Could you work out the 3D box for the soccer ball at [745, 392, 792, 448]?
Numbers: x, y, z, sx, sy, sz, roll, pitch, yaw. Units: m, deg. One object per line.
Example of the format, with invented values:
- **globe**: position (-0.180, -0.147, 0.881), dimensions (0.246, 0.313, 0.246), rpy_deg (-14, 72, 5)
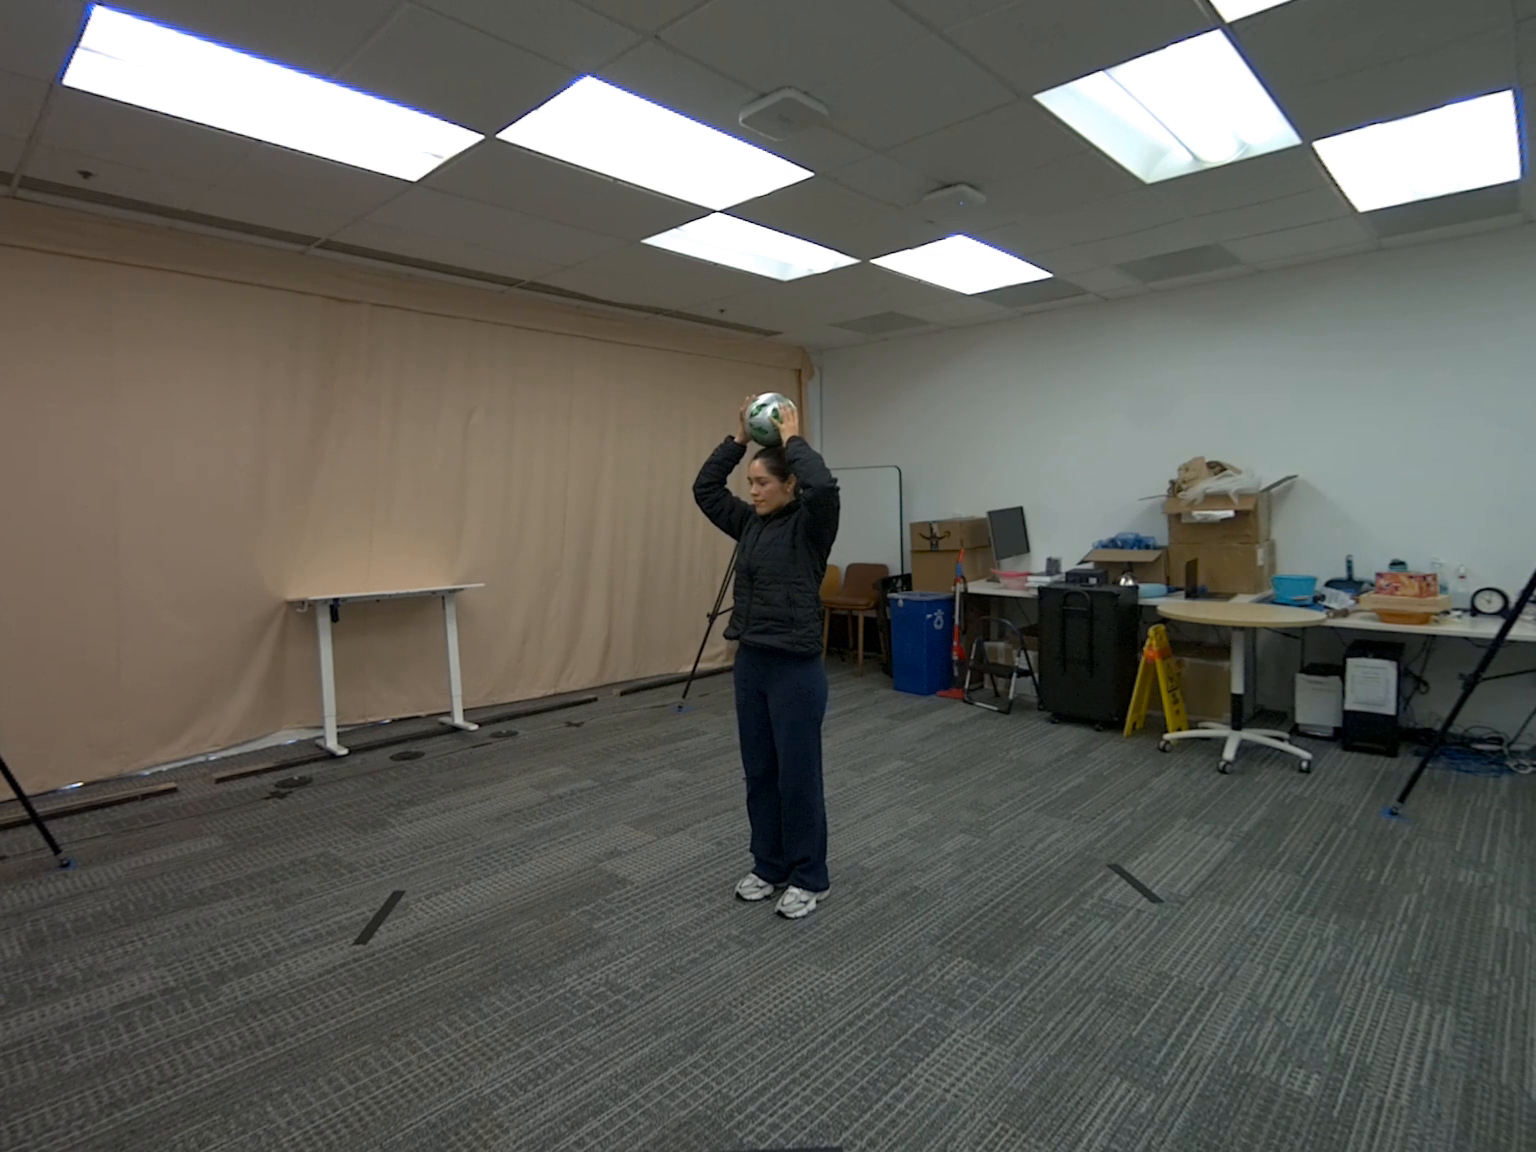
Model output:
- **soccer ball**: position (0.007, -0.539, 2.912), dimensions (0.187, 0.187, 0.188), rpy_deg (-1, 4, -2)
